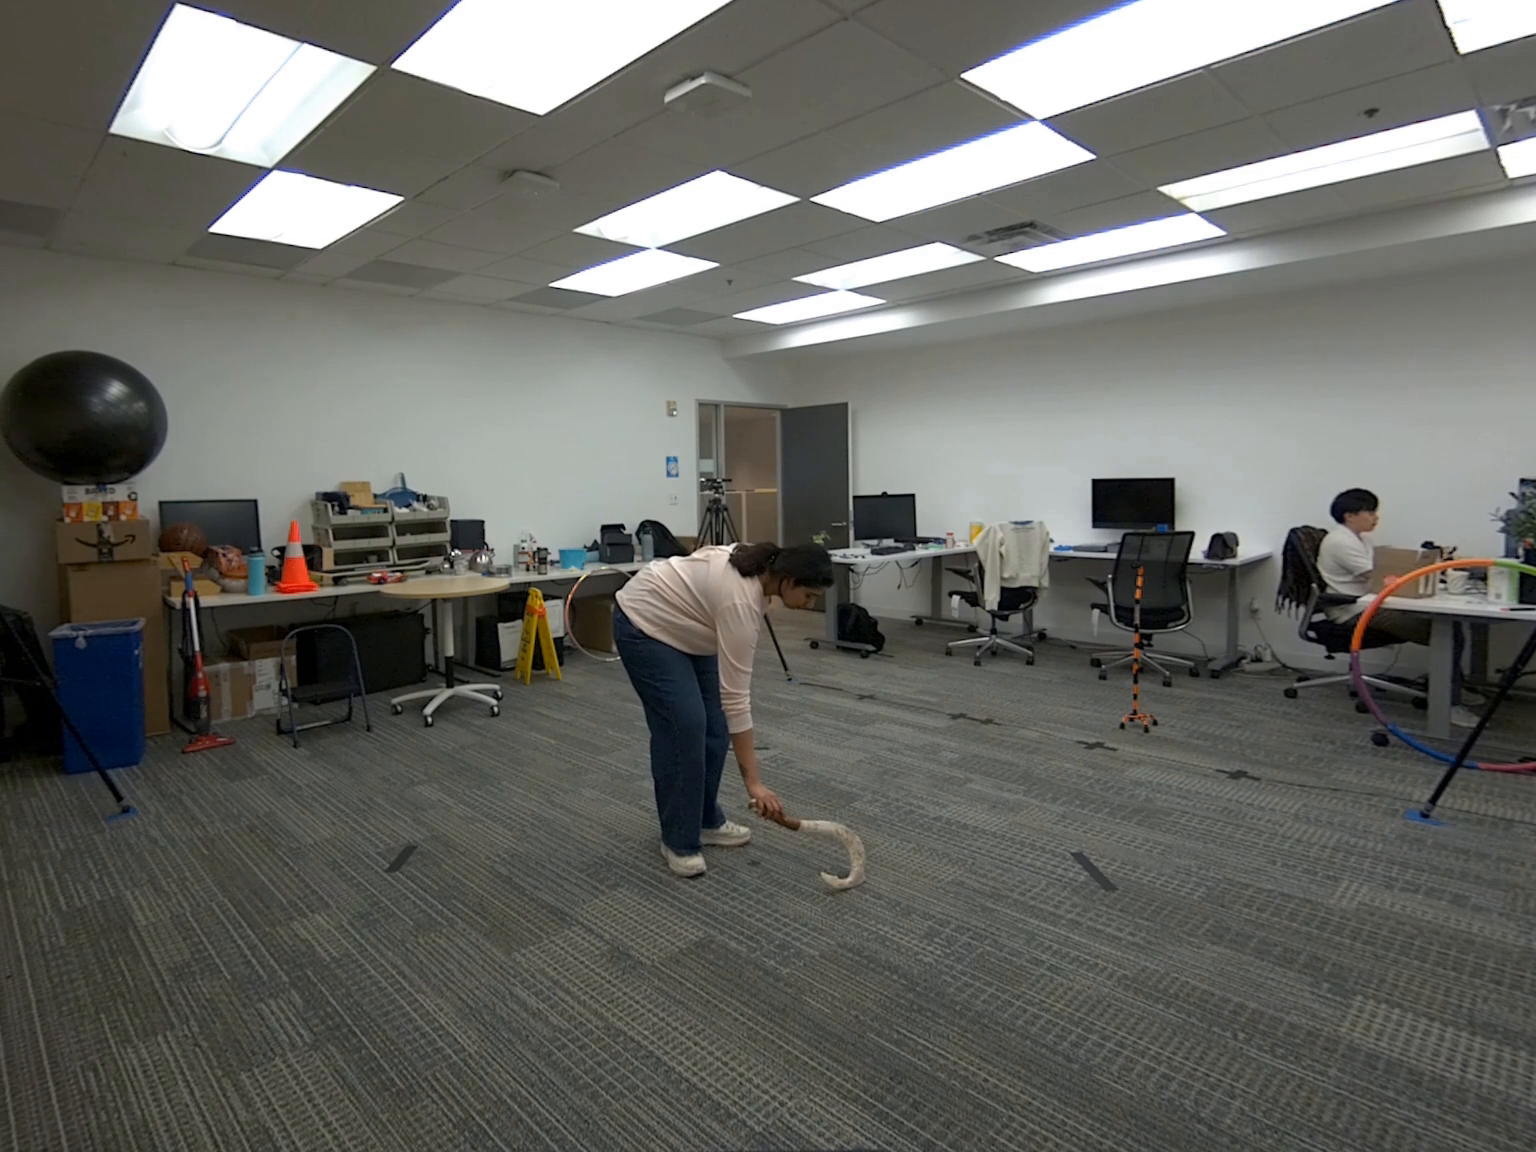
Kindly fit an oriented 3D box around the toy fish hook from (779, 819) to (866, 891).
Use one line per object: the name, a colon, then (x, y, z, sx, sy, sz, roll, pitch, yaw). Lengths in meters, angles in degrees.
toy fish hook: (0.139, 0.899, 2.887, 0.494, 0.230, 0.048, 25, -49, -20)
